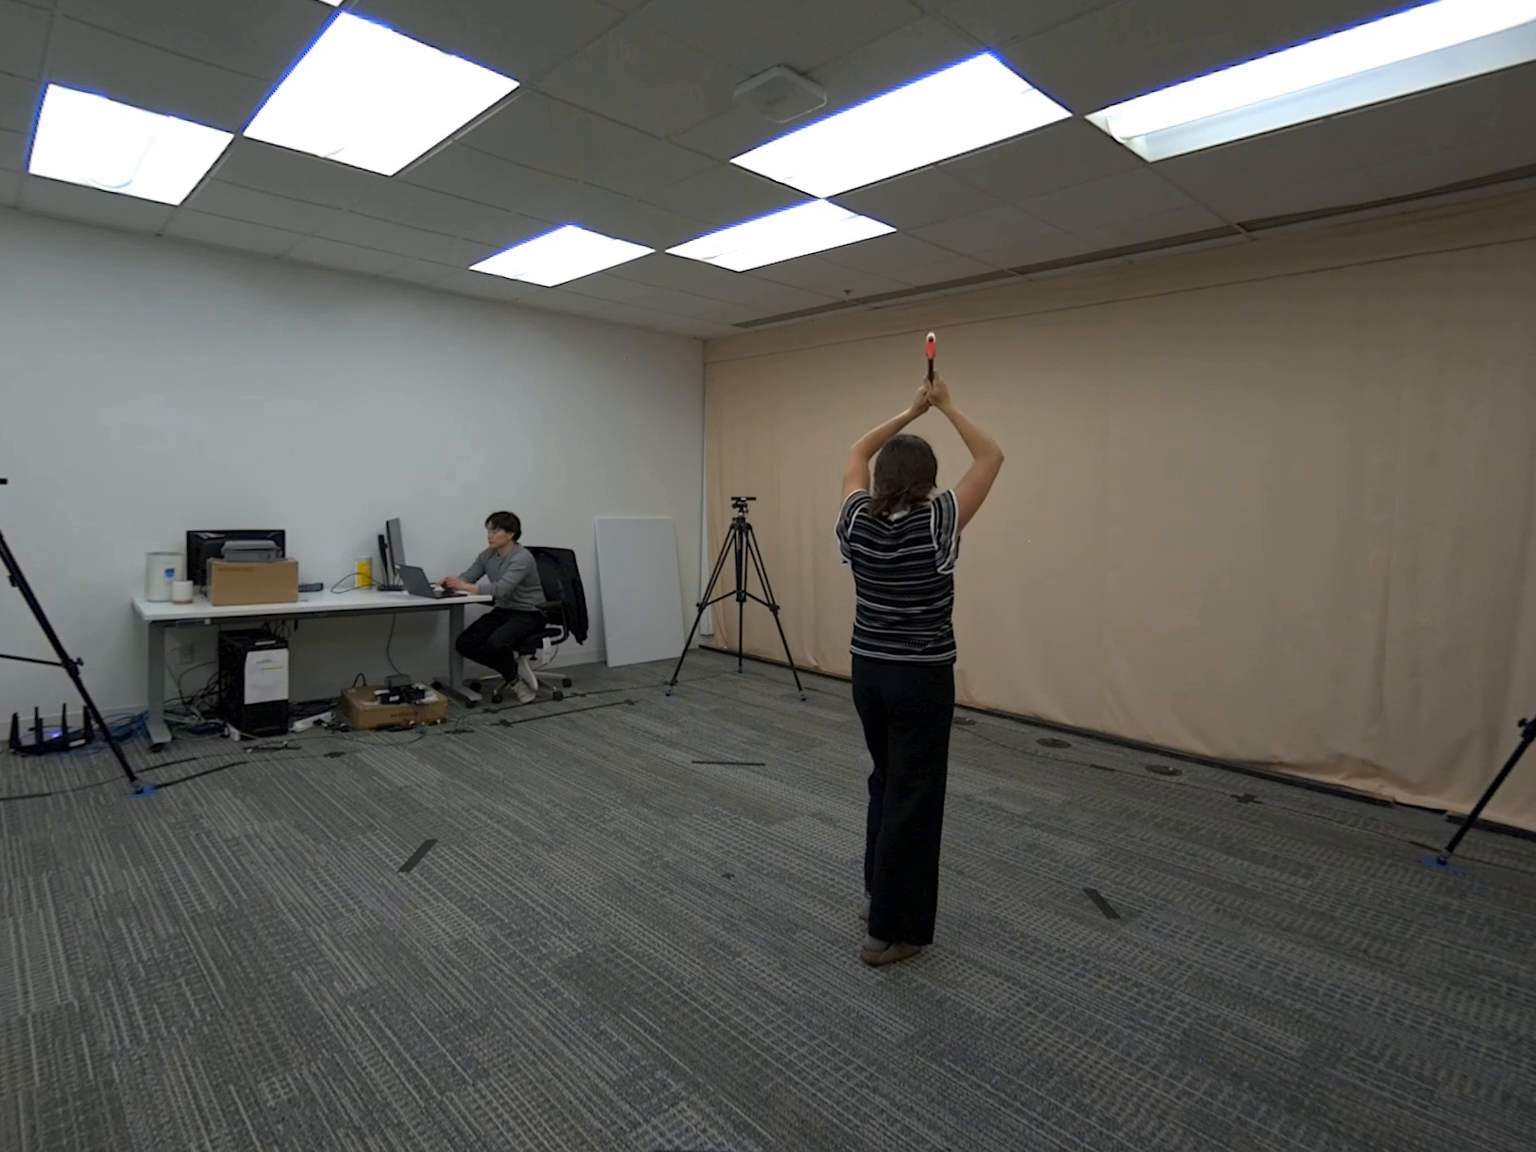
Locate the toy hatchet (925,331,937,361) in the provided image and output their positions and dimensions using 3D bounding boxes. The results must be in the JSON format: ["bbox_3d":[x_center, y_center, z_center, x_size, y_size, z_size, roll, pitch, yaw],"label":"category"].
[{"bbox_3d":[0.503,-0.661,2.646,0.030,0.133,0.264,3,-22,7],"label":"toy hatchet"}]
